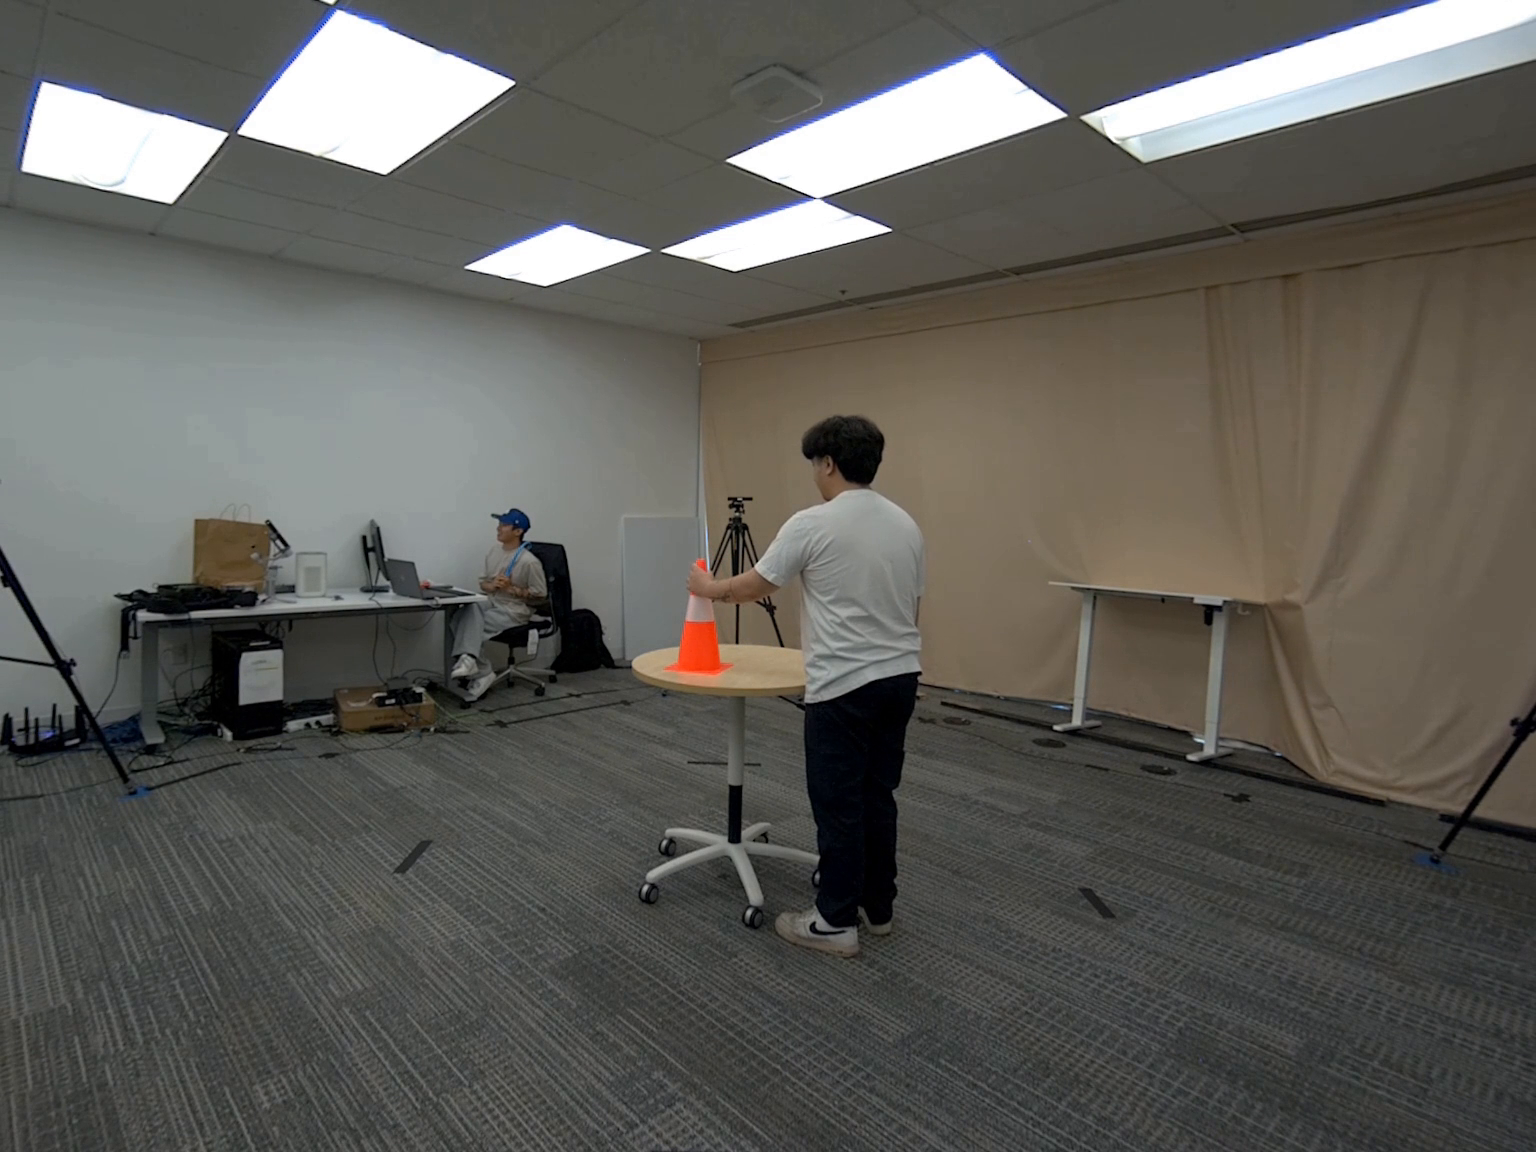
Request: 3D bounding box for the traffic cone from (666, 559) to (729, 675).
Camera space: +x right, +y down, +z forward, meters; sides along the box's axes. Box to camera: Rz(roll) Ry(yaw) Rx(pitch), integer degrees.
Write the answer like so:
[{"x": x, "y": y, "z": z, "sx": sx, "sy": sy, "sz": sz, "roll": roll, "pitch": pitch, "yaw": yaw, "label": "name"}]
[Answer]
[{"x": -0.242, "y": 0.137, "z": 2.948, "sx": 0.206, "sy": 0.383, "sz": 0.202, "roll": 4, "pitch": 4, "yaw": 19, "label": "traffic cone"}]
